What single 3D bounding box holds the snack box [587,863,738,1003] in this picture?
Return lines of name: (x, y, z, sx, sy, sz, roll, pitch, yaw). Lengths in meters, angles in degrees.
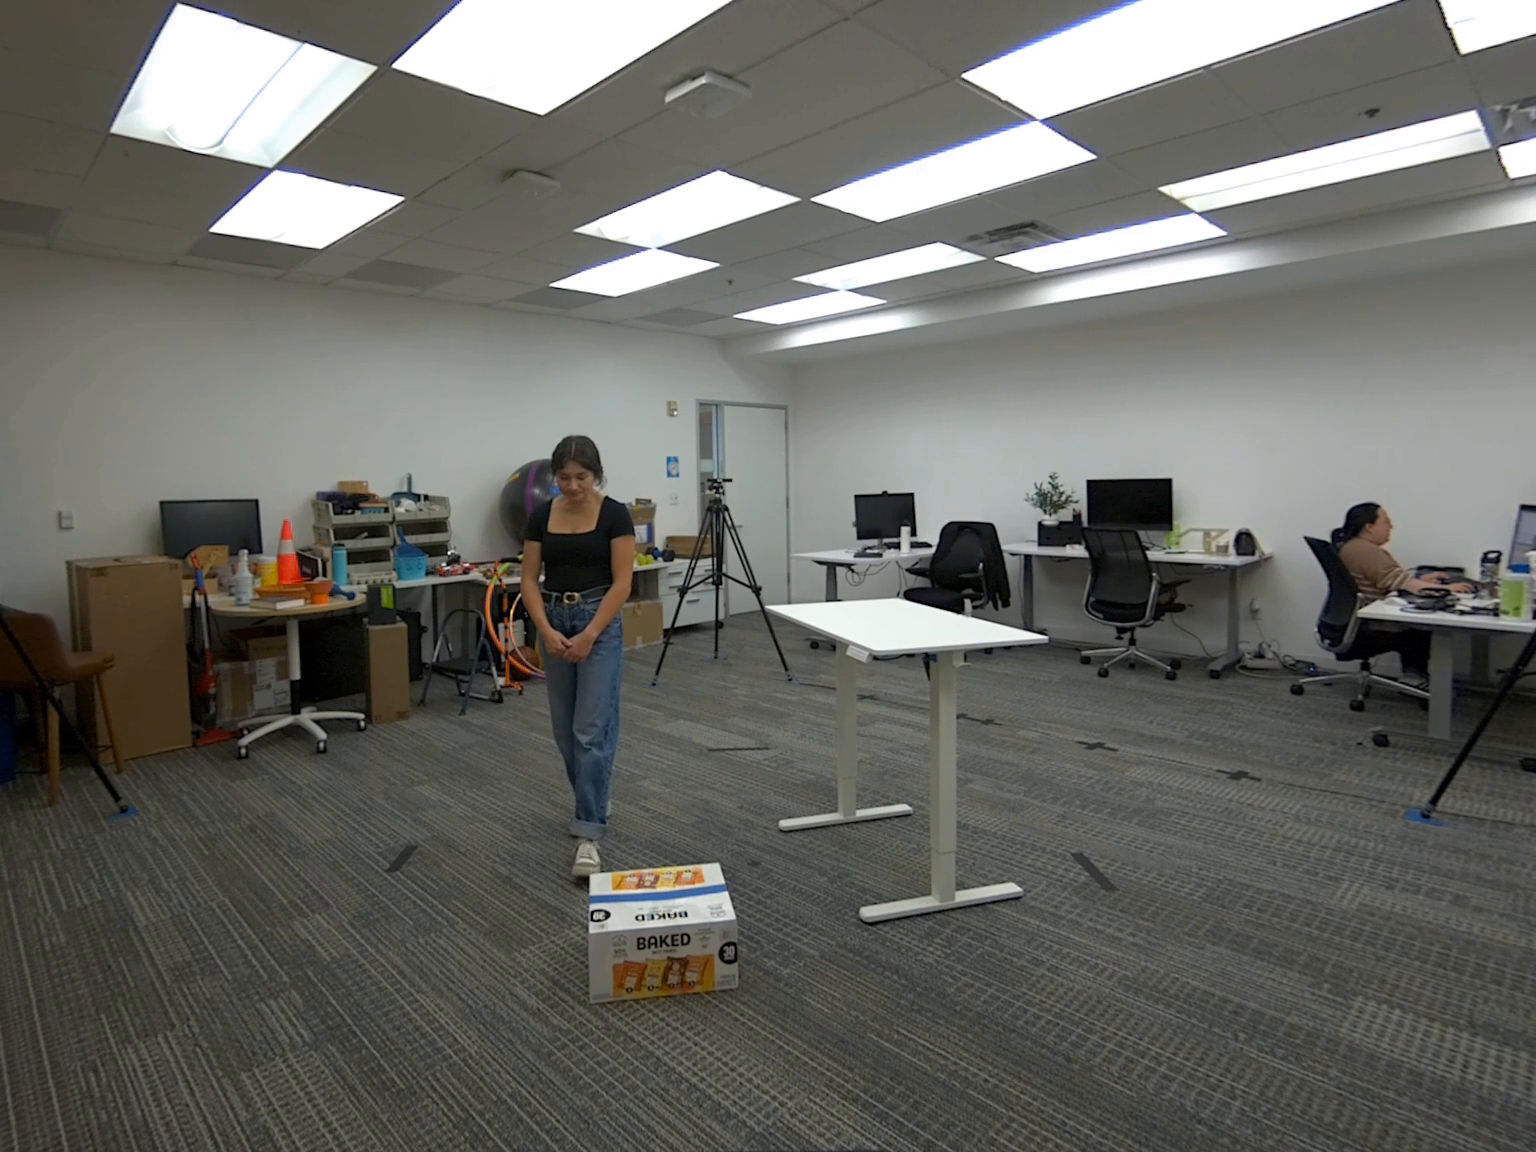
snack box: (-0.307, 1.024, 2.470, 0.402, 0.205, 0.345, -2, 6, -10)
